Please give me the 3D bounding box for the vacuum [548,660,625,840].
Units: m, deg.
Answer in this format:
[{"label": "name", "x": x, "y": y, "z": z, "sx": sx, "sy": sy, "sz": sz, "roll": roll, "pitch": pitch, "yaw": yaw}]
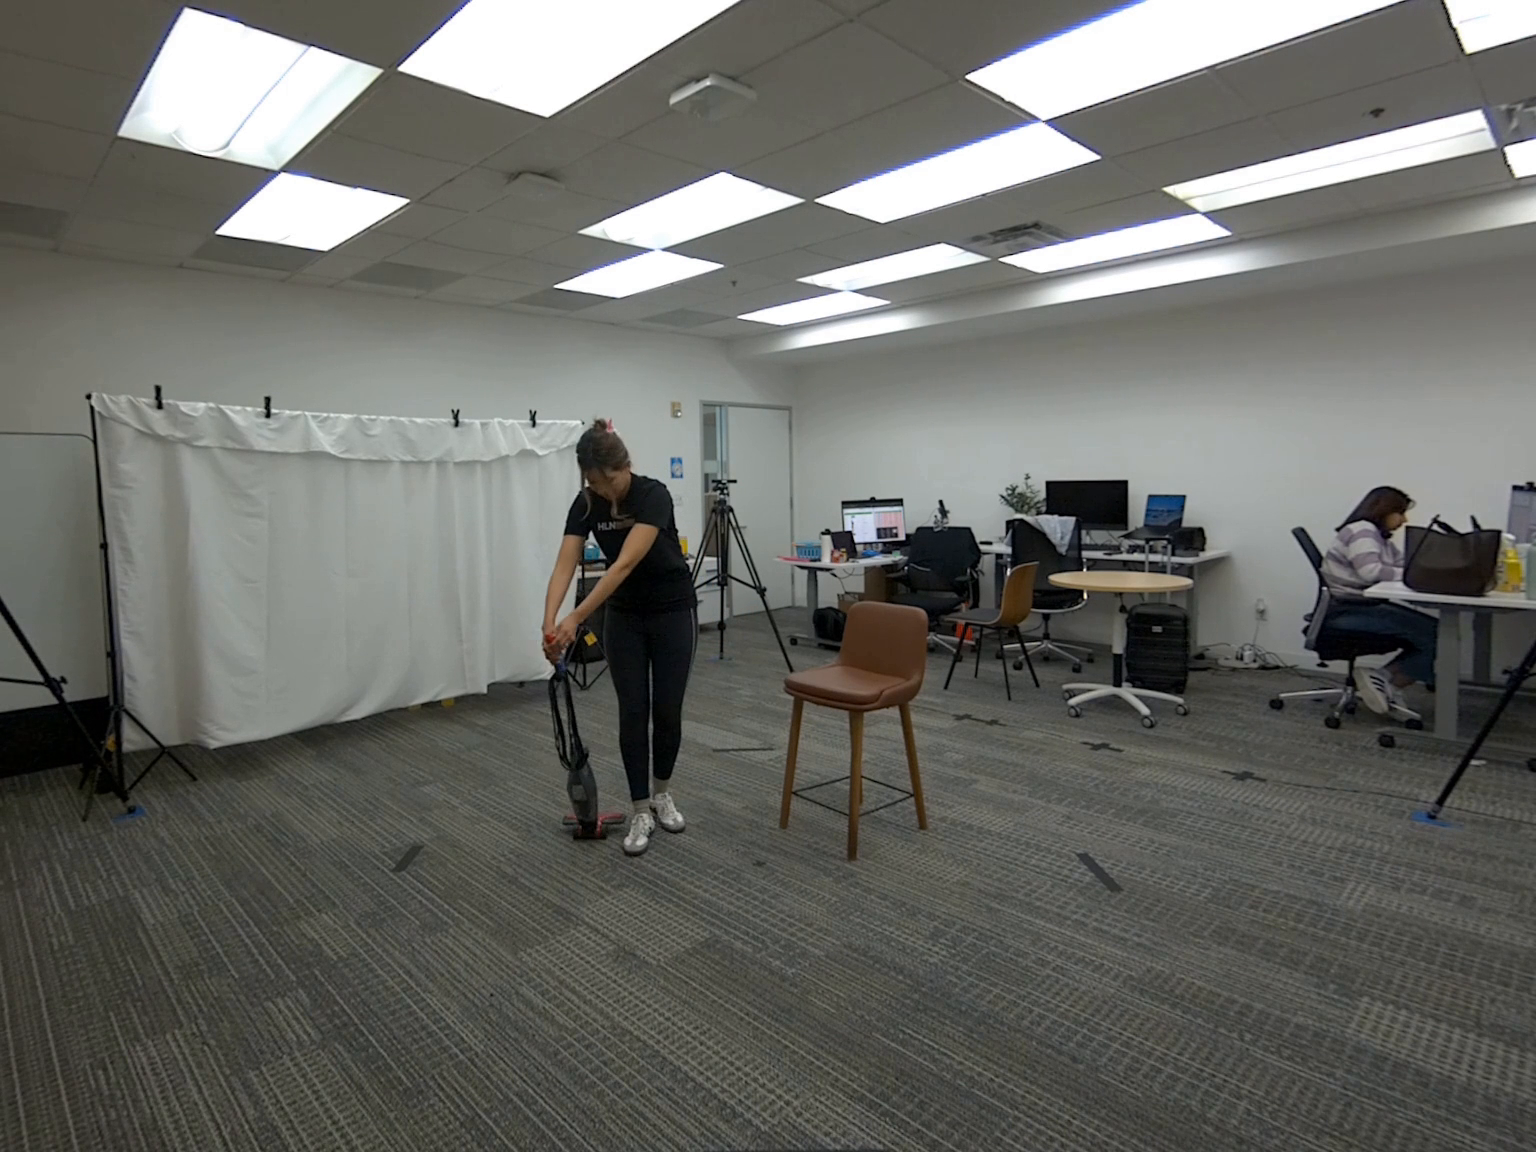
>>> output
[{"label": "vacuum", "x": -0.710, "y": 0.613, "z": 3.099, "sx": 0.254, "sy": 1.020, "sz": 0.147, "roll": 2, "pitch": 40, "yaw": 4}]
